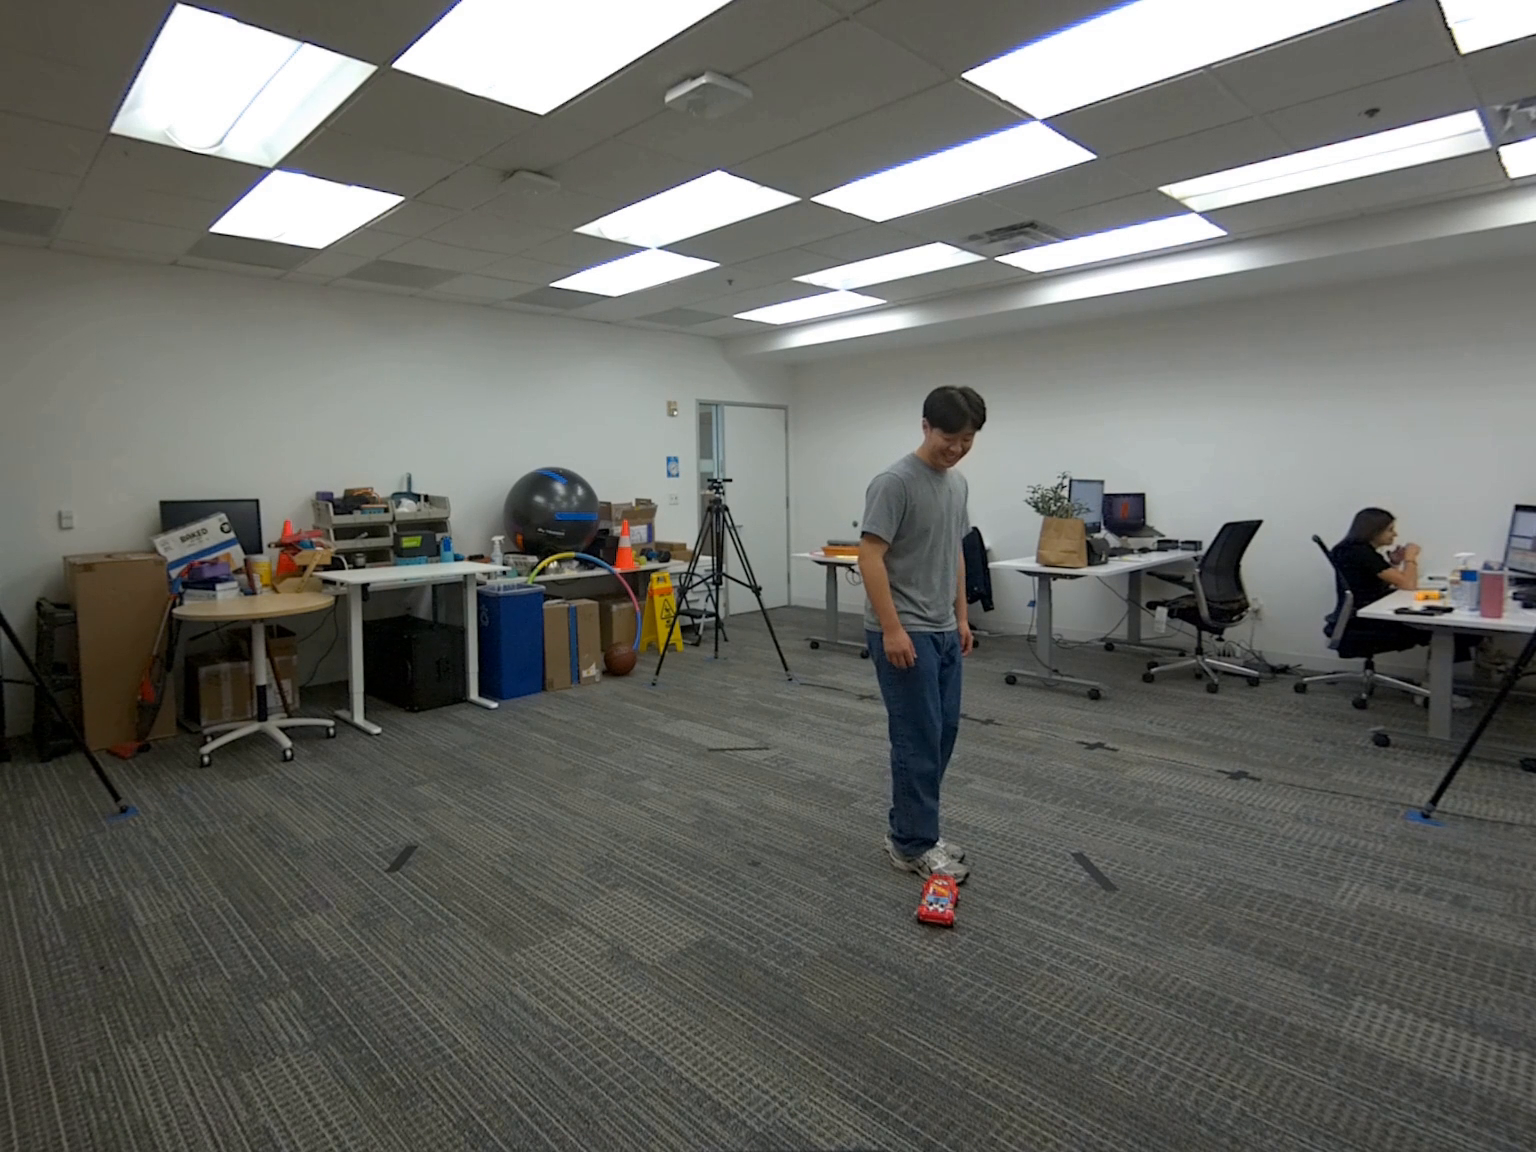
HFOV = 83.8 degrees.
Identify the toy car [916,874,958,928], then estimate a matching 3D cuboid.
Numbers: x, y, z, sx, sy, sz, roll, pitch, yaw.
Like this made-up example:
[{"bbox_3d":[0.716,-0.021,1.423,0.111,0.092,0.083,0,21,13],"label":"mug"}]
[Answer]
[{"bbox_3d":[0.558,1.048,2.745,0.133,0.082,0.254,1,17,18],"label":"toy car"}]
